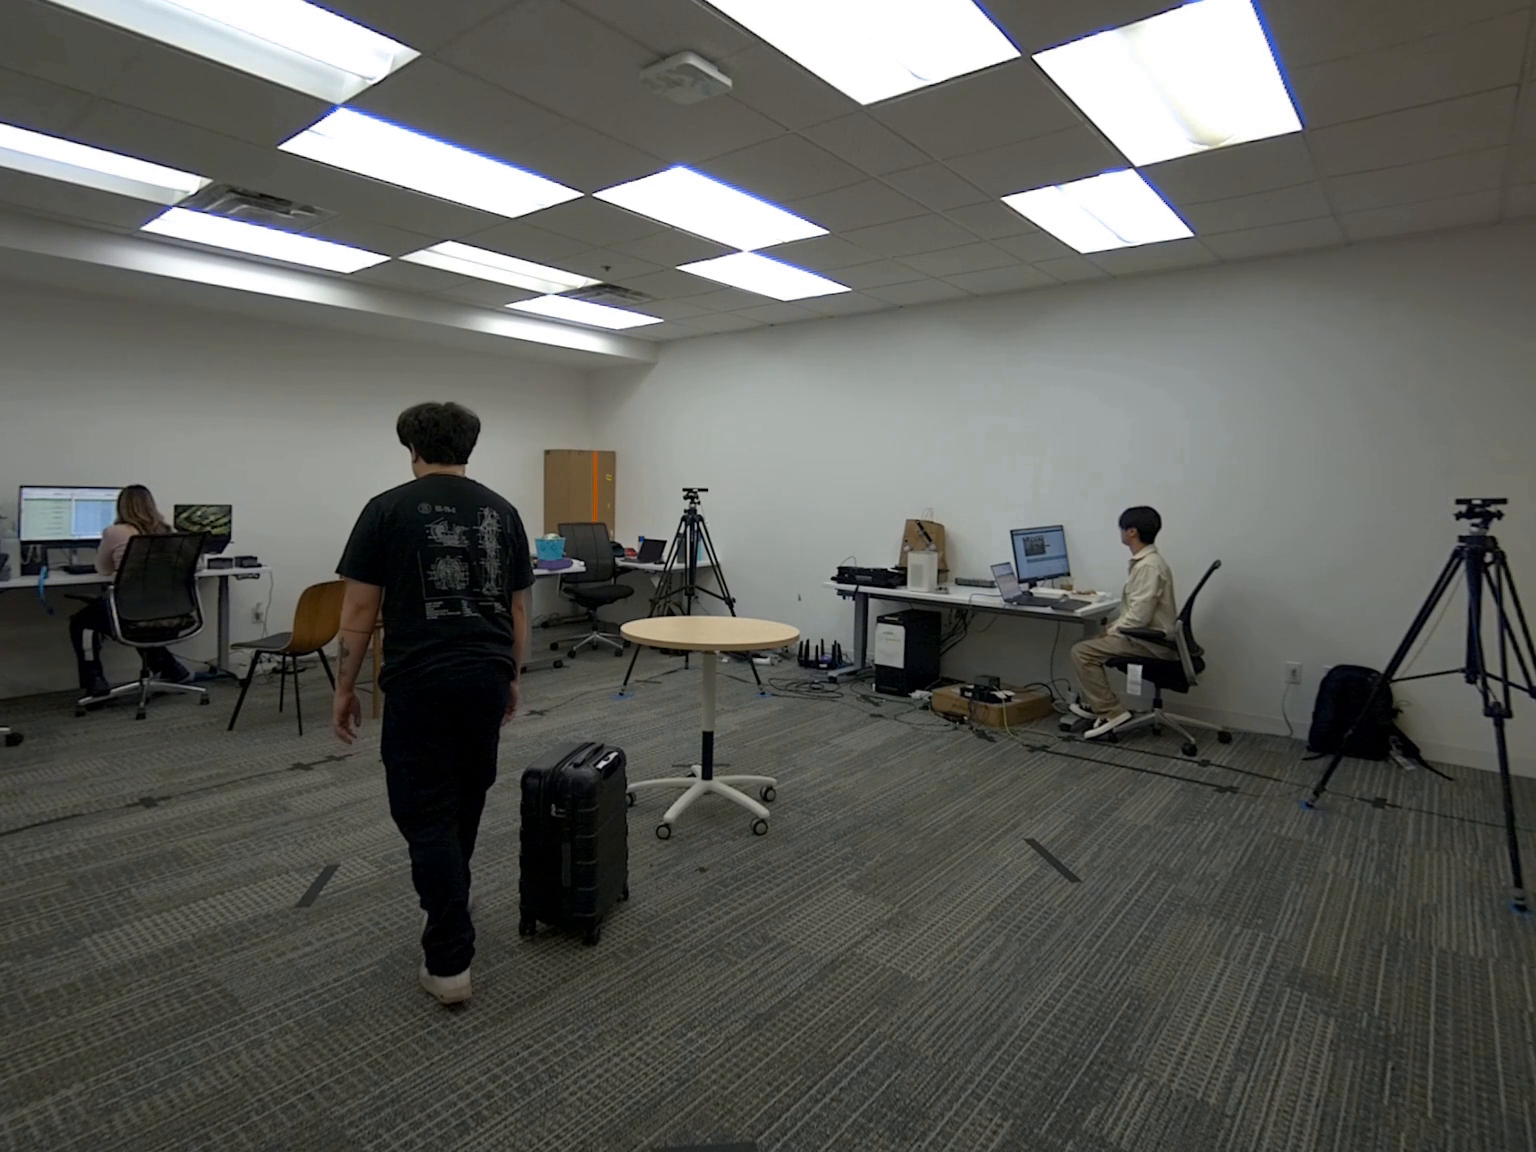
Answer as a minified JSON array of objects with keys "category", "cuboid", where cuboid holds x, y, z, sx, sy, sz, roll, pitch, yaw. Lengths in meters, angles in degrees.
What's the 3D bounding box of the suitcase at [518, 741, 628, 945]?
[{"category":"suitcase","cuboid":[-0.631,0.831,2.719,0.252,0.547,0.372,1,5,11]}]
